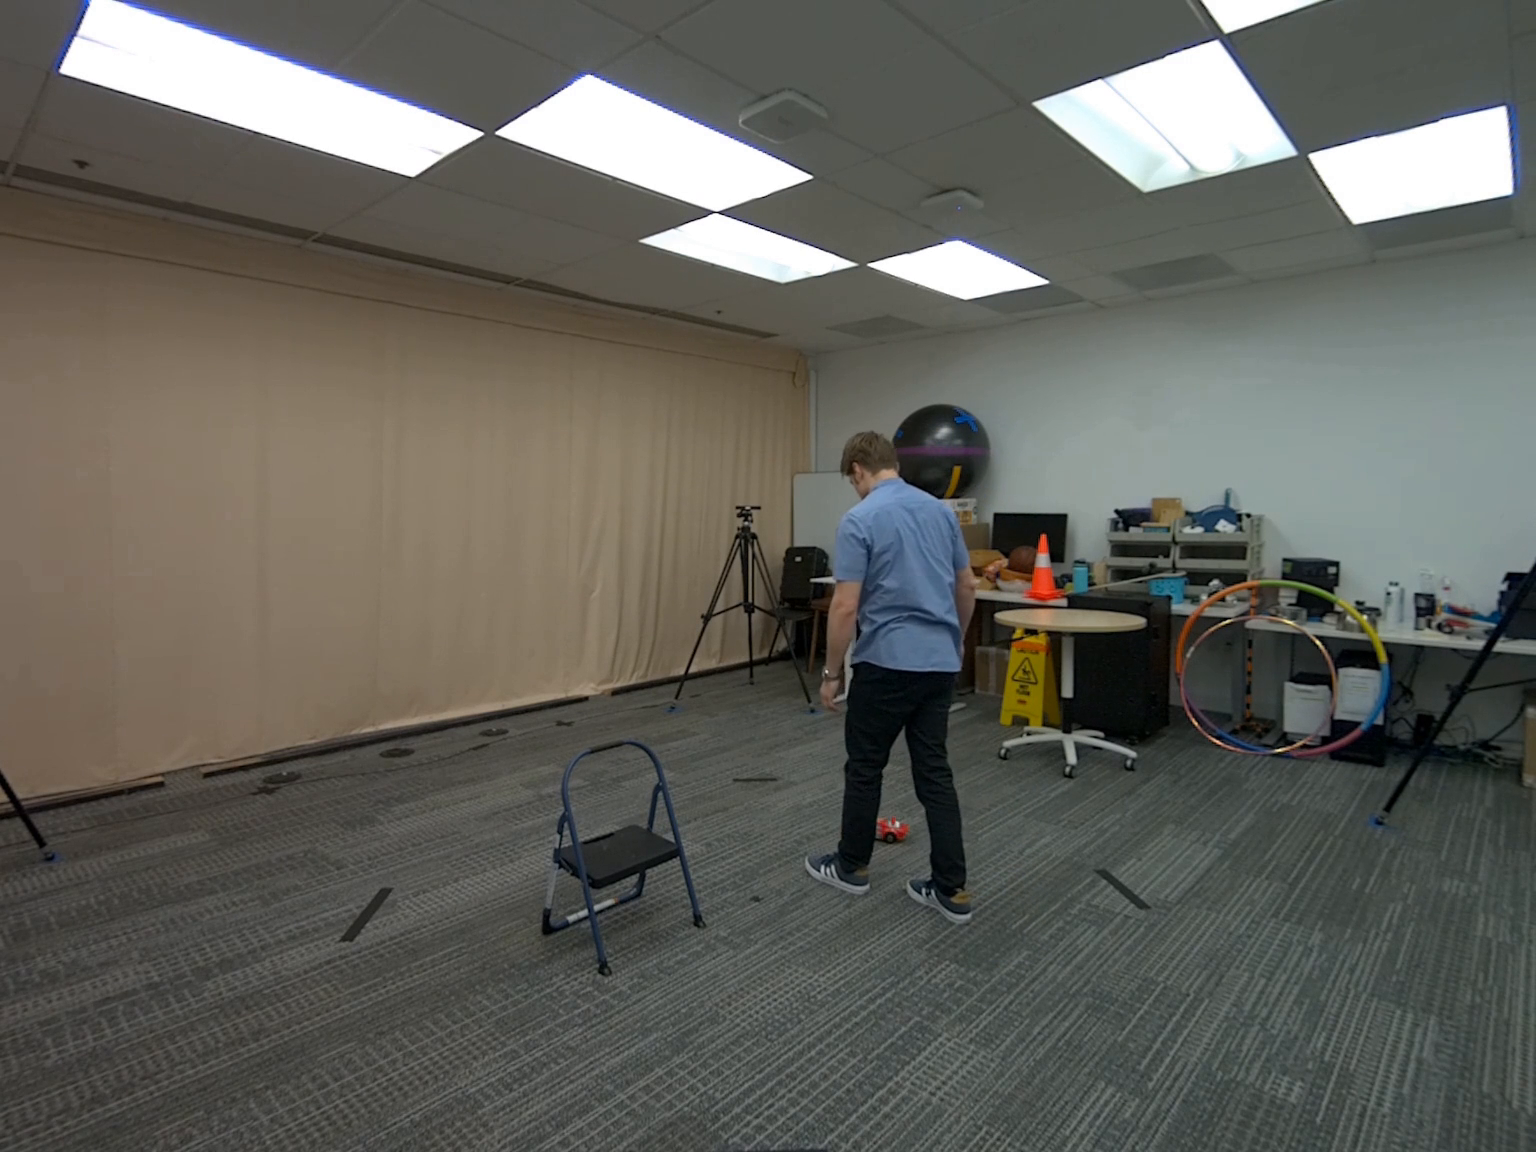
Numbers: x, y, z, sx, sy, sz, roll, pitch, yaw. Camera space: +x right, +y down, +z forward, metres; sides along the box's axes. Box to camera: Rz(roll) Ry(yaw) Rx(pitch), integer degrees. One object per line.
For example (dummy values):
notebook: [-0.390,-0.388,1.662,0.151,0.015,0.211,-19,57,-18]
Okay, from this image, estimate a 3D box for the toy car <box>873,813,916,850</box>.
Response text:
toy car: [0.475,1.065,3.531,0.257,0.083,0.129,-11,2,12]
